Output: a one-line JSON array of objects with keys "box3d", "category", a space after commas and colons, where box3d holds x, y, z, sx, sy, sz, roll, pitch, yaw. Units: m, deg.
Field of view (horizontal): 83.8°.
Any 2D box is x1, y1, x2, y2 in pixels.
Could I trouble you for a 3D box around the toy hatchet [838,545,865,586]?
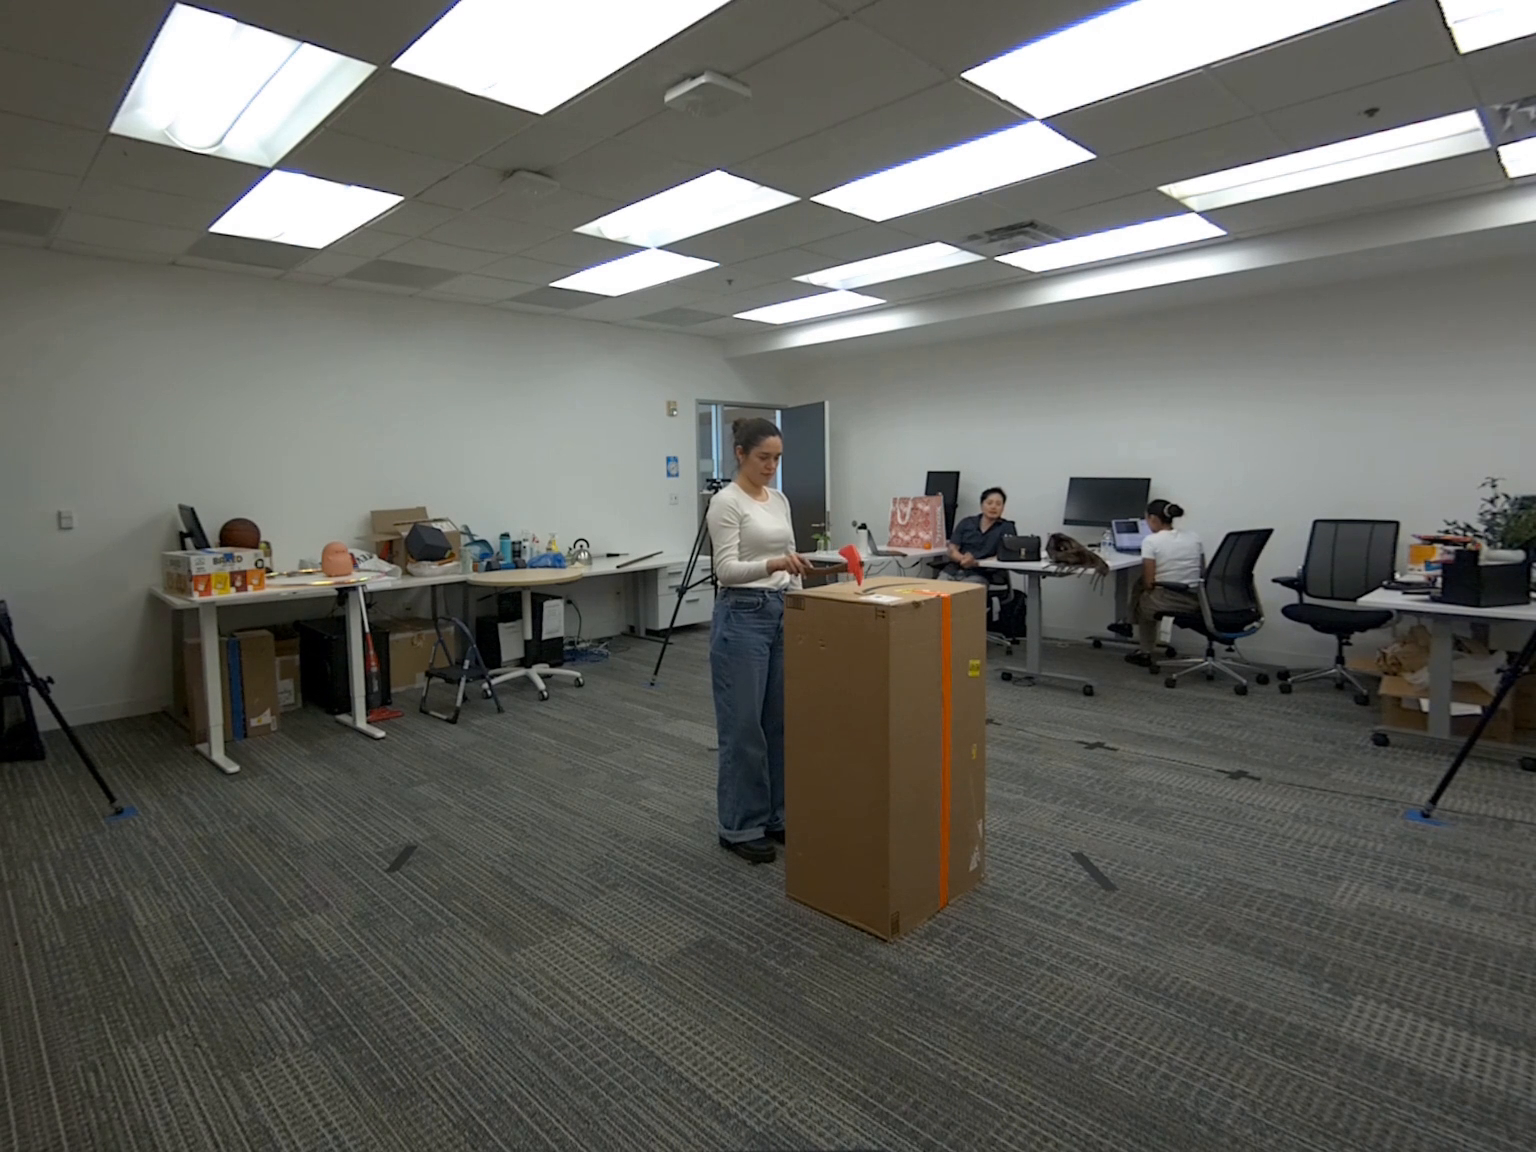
[{"box3d": [0.200, -0.050, 2.801, 0.279, 0.130, 0.029, 10, 14, 36], "category": "toy hatchet"}]
